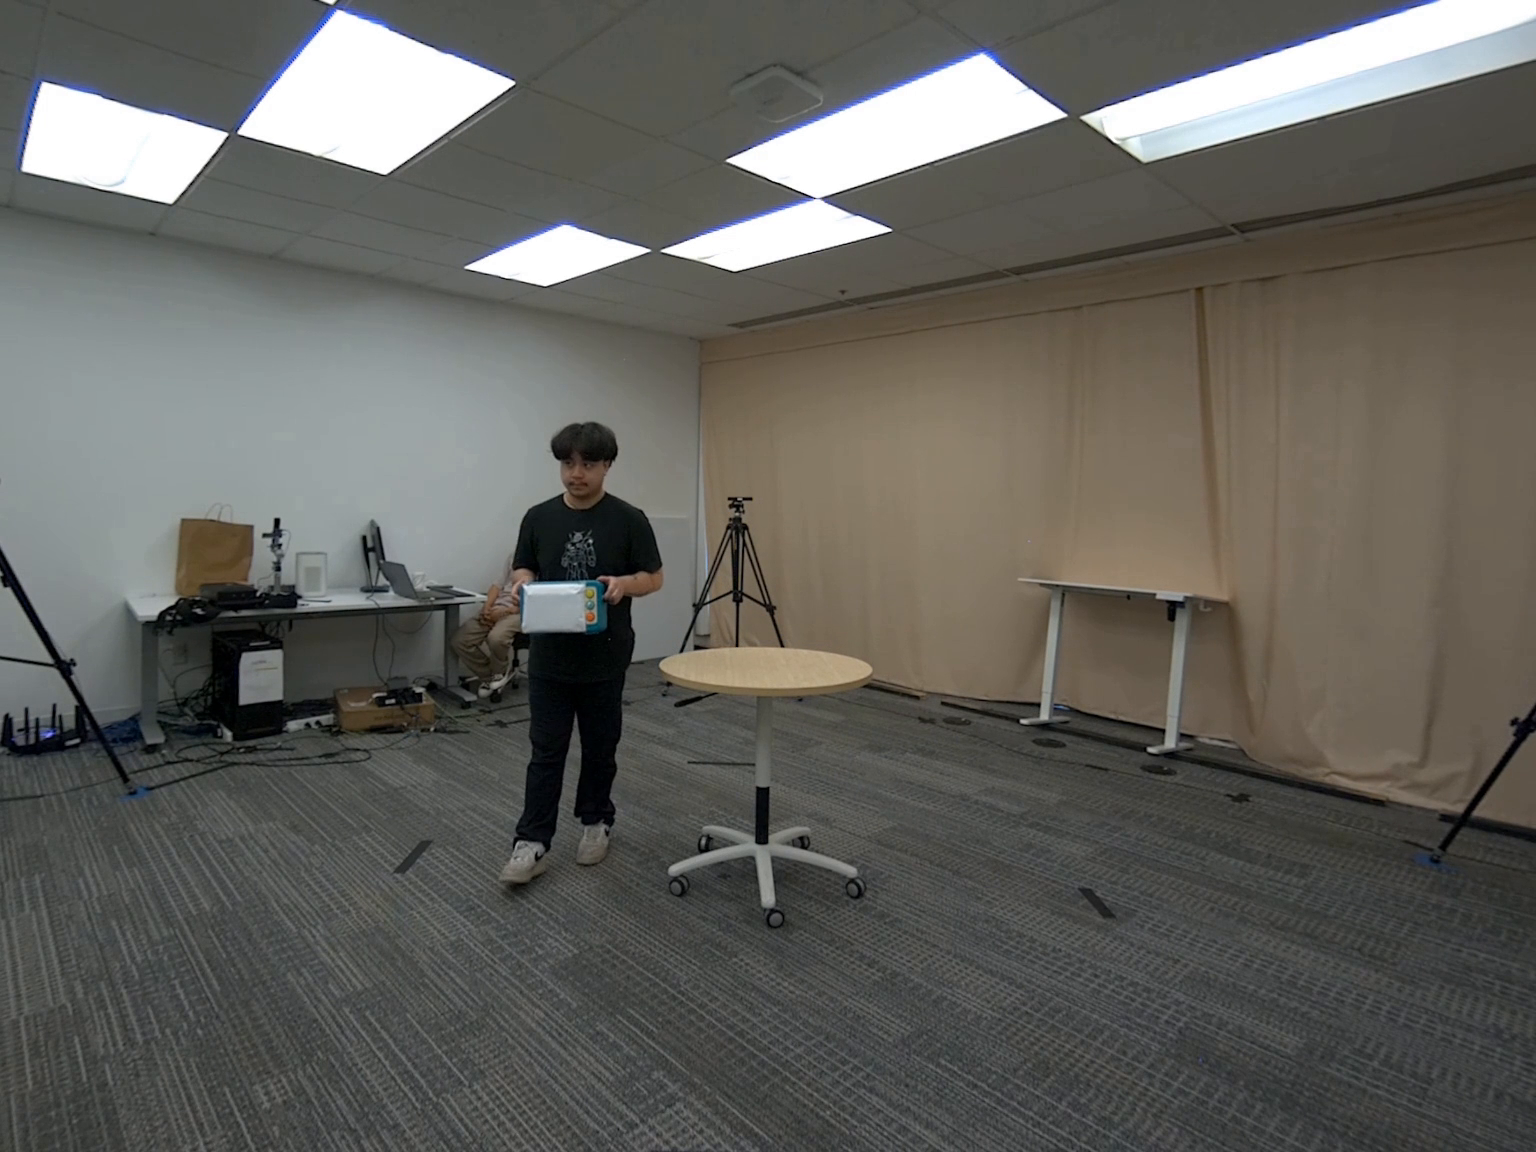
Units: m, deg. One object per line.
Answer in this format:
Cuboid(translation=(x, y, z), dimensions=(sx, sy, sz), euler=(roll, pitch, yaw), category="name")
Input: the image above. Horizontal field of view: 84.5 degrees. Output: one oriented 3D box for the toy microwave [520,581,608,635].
Cuboid(translation=(-0.717, 0.108, 2.910), dimensions=(0.287, 0.184, 0.152), euler=(-1, -3, 2), category="toy microwave")
